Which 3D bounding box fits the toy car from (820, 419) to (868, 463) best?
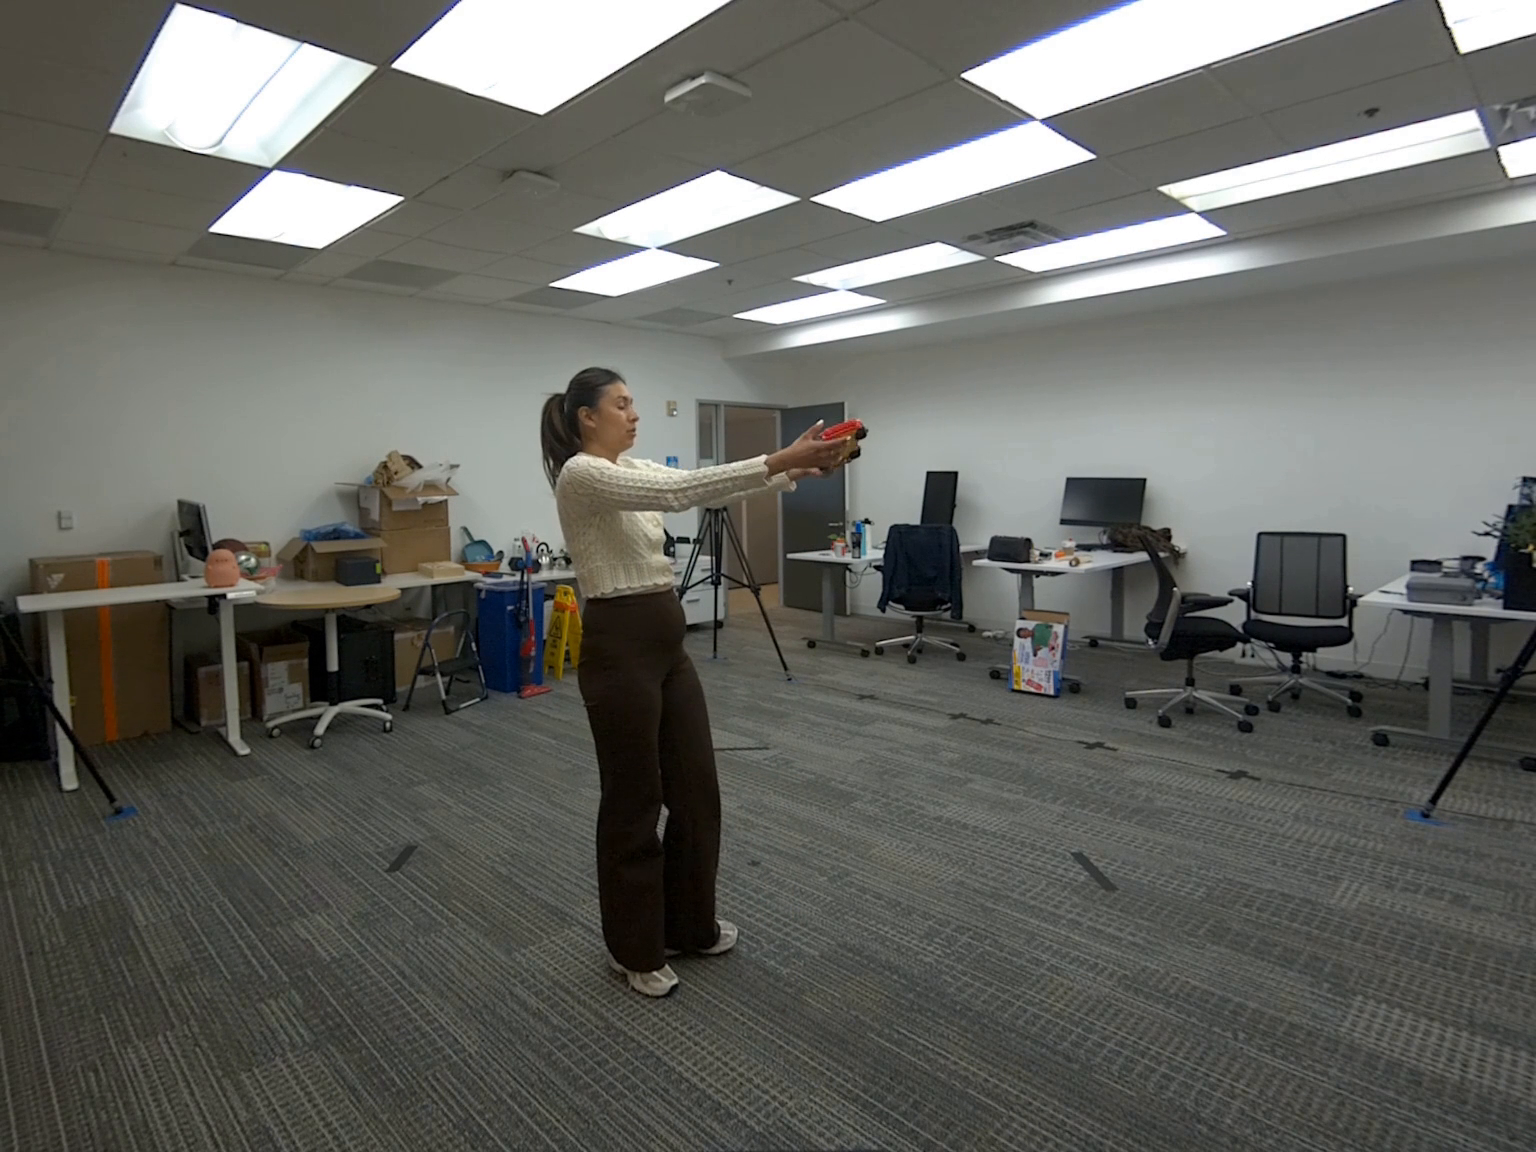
[{"bbox_3d":[0.180,-0.329,2.179,0.130,0.083,0.253,-19,-2,-1],"label":"toy car"}]
